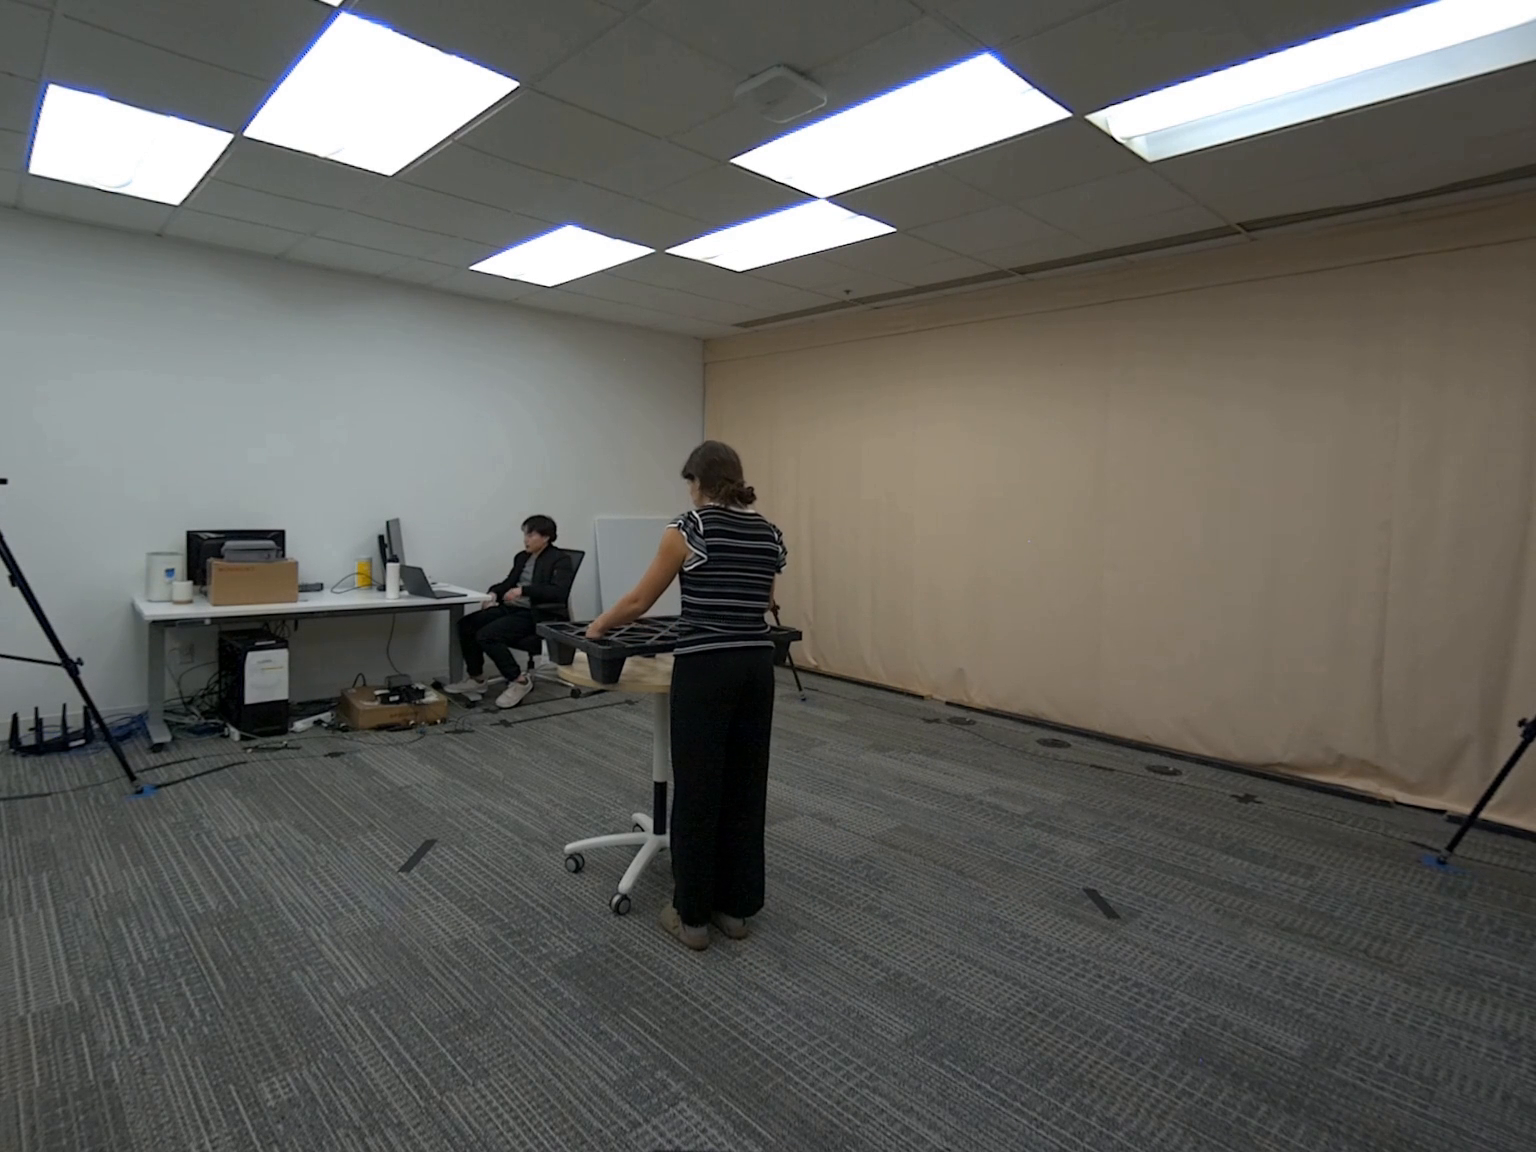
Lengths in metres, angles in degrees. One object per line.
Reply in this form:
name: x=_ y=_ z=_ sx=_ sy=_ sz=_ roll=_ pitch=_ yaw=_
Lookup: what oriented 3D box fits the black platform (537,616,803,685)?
black platform: x=-0.382 y=0.256 z=3.087 sx=0.788 sy=0.143 sz=0.619 roll=-2 pitch=5 yaw=-35
